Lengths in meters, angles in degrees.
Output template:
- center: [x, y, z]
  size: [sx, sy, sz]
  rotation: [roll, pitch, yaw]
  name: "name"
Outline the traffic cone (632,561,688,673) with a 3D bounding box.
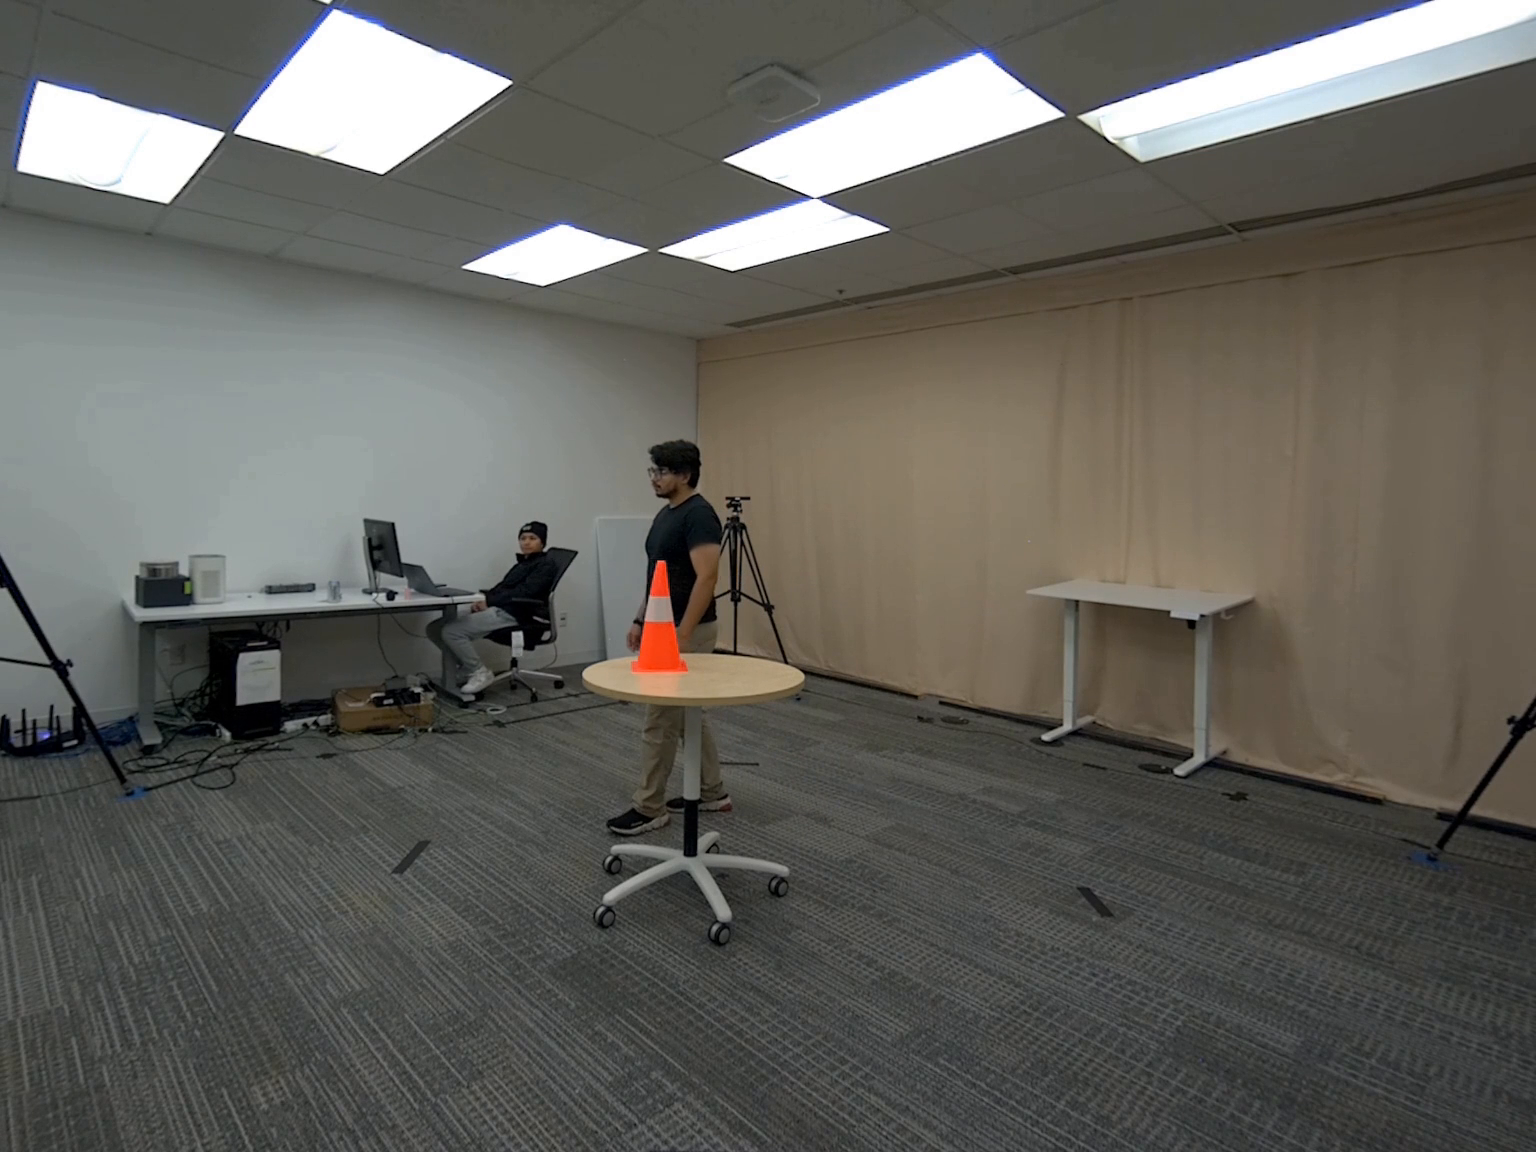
- center: [-0.398, 0.141, 3.008]
  size: [0.203, 0.383, 0.206]
  rotation: [1, 4, -14]
  name: "traffic cone"
